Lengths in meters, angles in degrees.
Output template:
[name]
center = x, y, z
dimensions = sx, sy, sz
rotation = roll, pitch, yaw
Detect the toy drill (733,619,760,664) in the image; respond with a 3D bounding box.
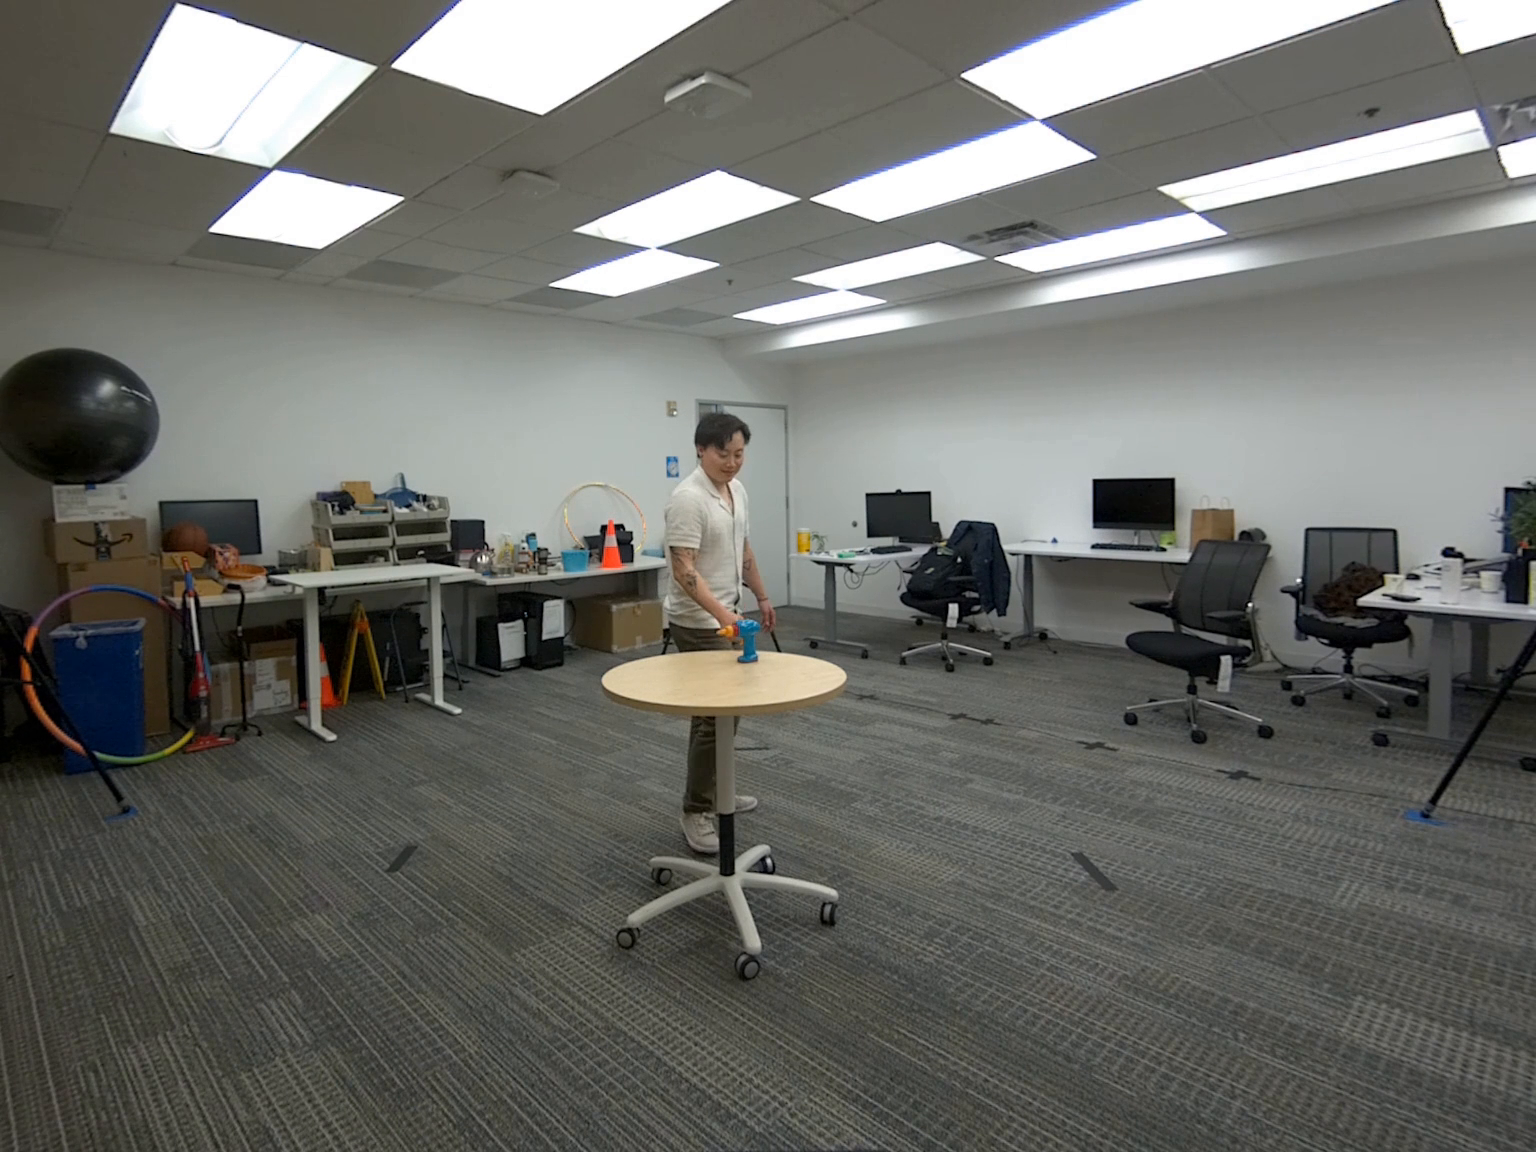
[toy drill]
center = -0.099, 0.220, 2.855
dimensions = 0.165, 0.145, 0.063
rotation = -1, 6, -38
